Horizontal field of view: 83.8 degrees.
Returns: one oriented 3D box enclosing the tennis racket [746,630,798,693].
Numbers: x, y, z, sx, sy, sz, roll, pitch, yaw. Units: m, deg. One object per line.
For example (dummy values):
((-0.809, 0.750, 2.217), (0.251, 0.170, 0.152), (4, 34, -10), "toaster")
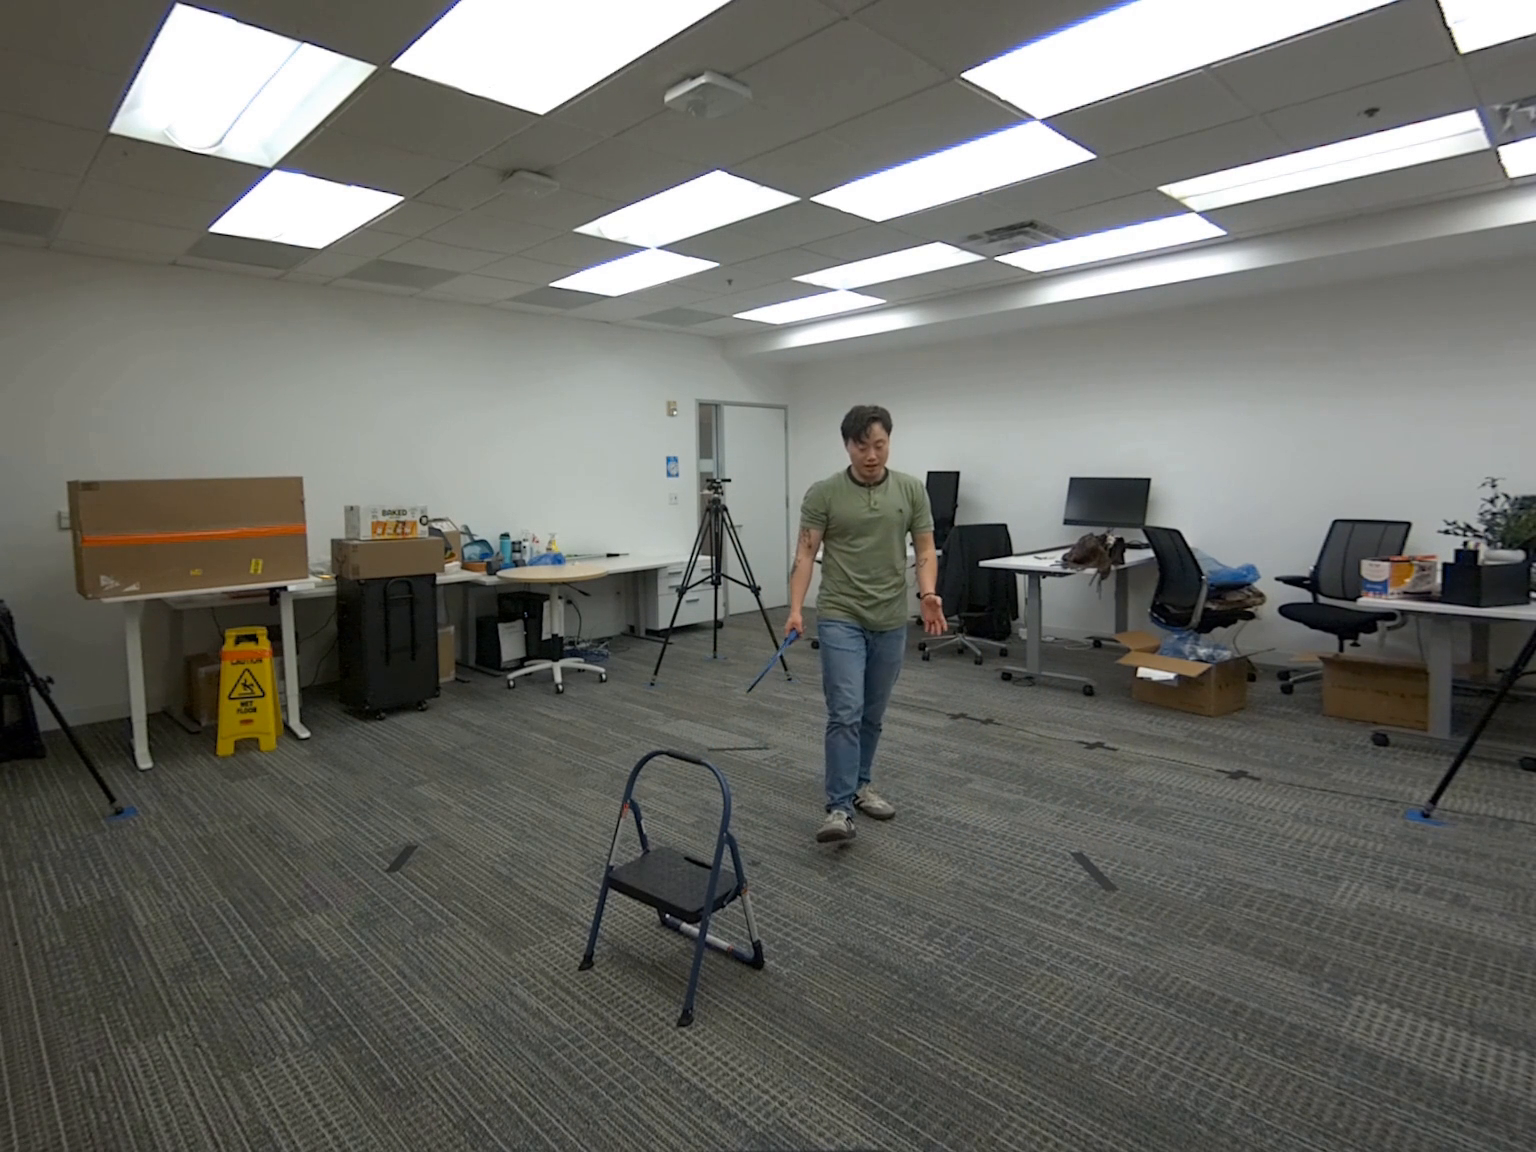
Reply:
((0.043, 0.292, 3.133), (0.032, 0.212, 0.433), (36, 31, 3), "tennis racket")
